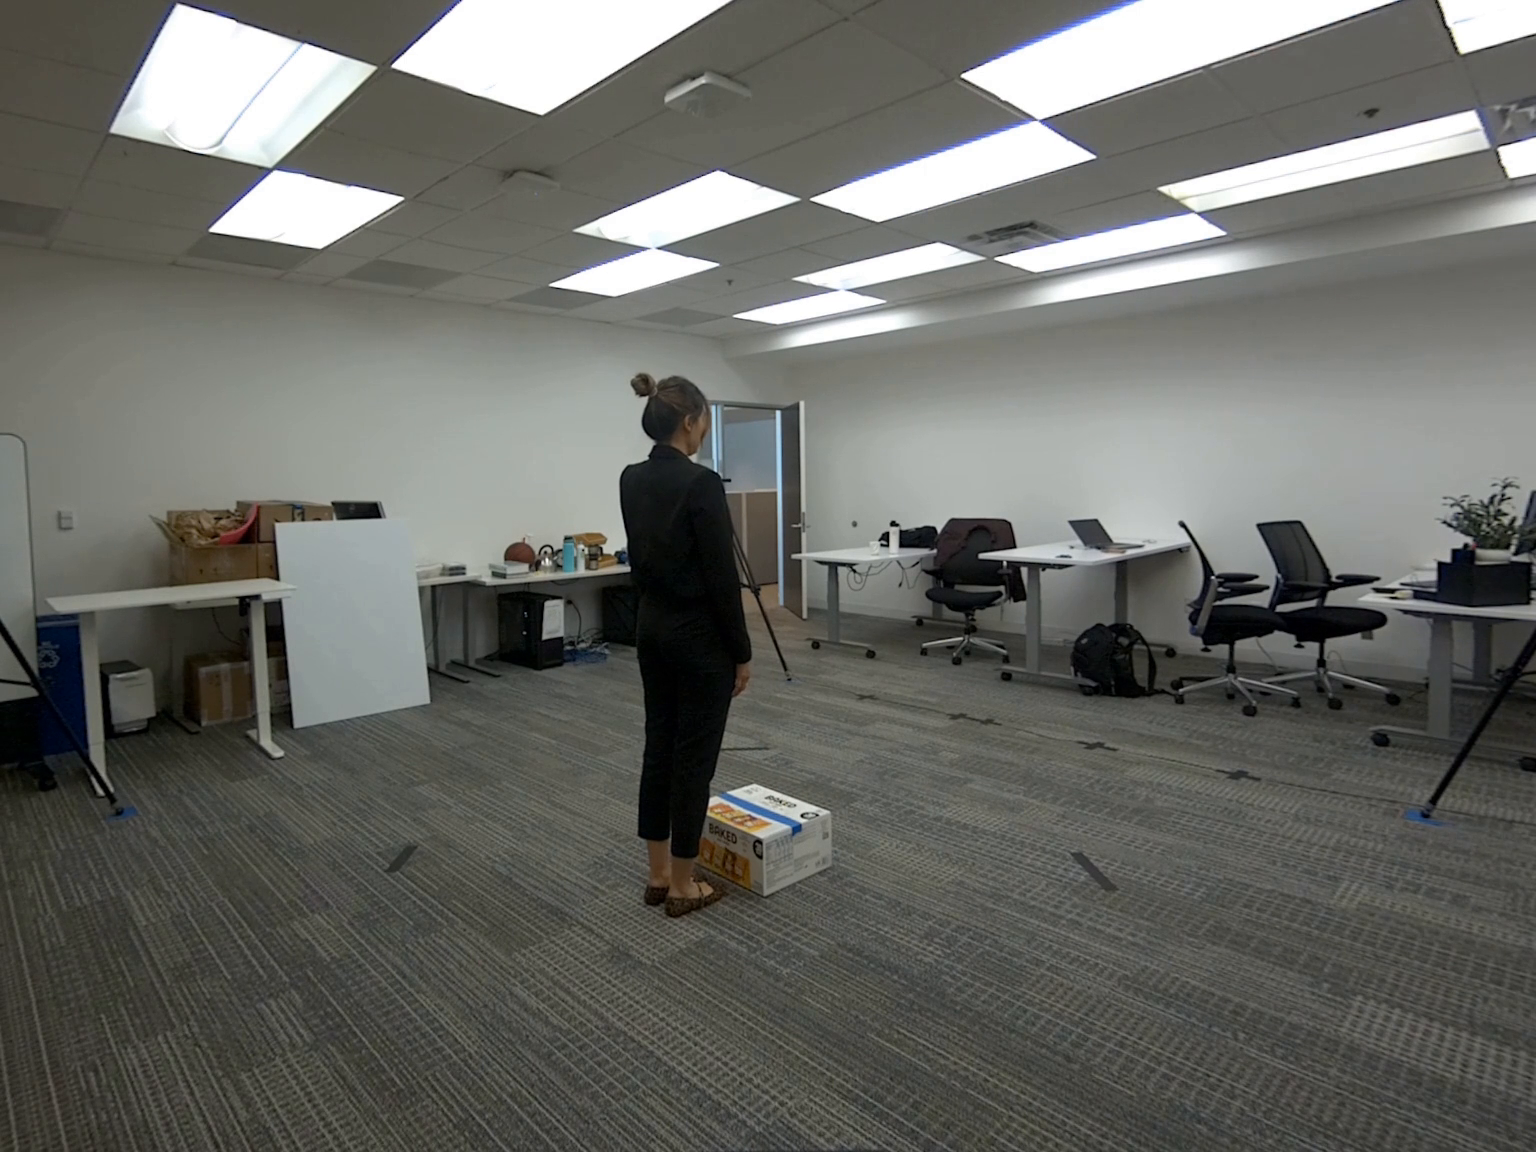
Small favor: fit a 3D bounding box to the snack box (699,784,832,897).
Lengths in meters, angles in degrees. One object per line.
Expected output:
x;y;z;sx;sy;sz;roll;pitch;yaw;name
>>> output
-0.030;0.944;3.100;0.331;0.205;0.418;-6;8;-43;snack box
